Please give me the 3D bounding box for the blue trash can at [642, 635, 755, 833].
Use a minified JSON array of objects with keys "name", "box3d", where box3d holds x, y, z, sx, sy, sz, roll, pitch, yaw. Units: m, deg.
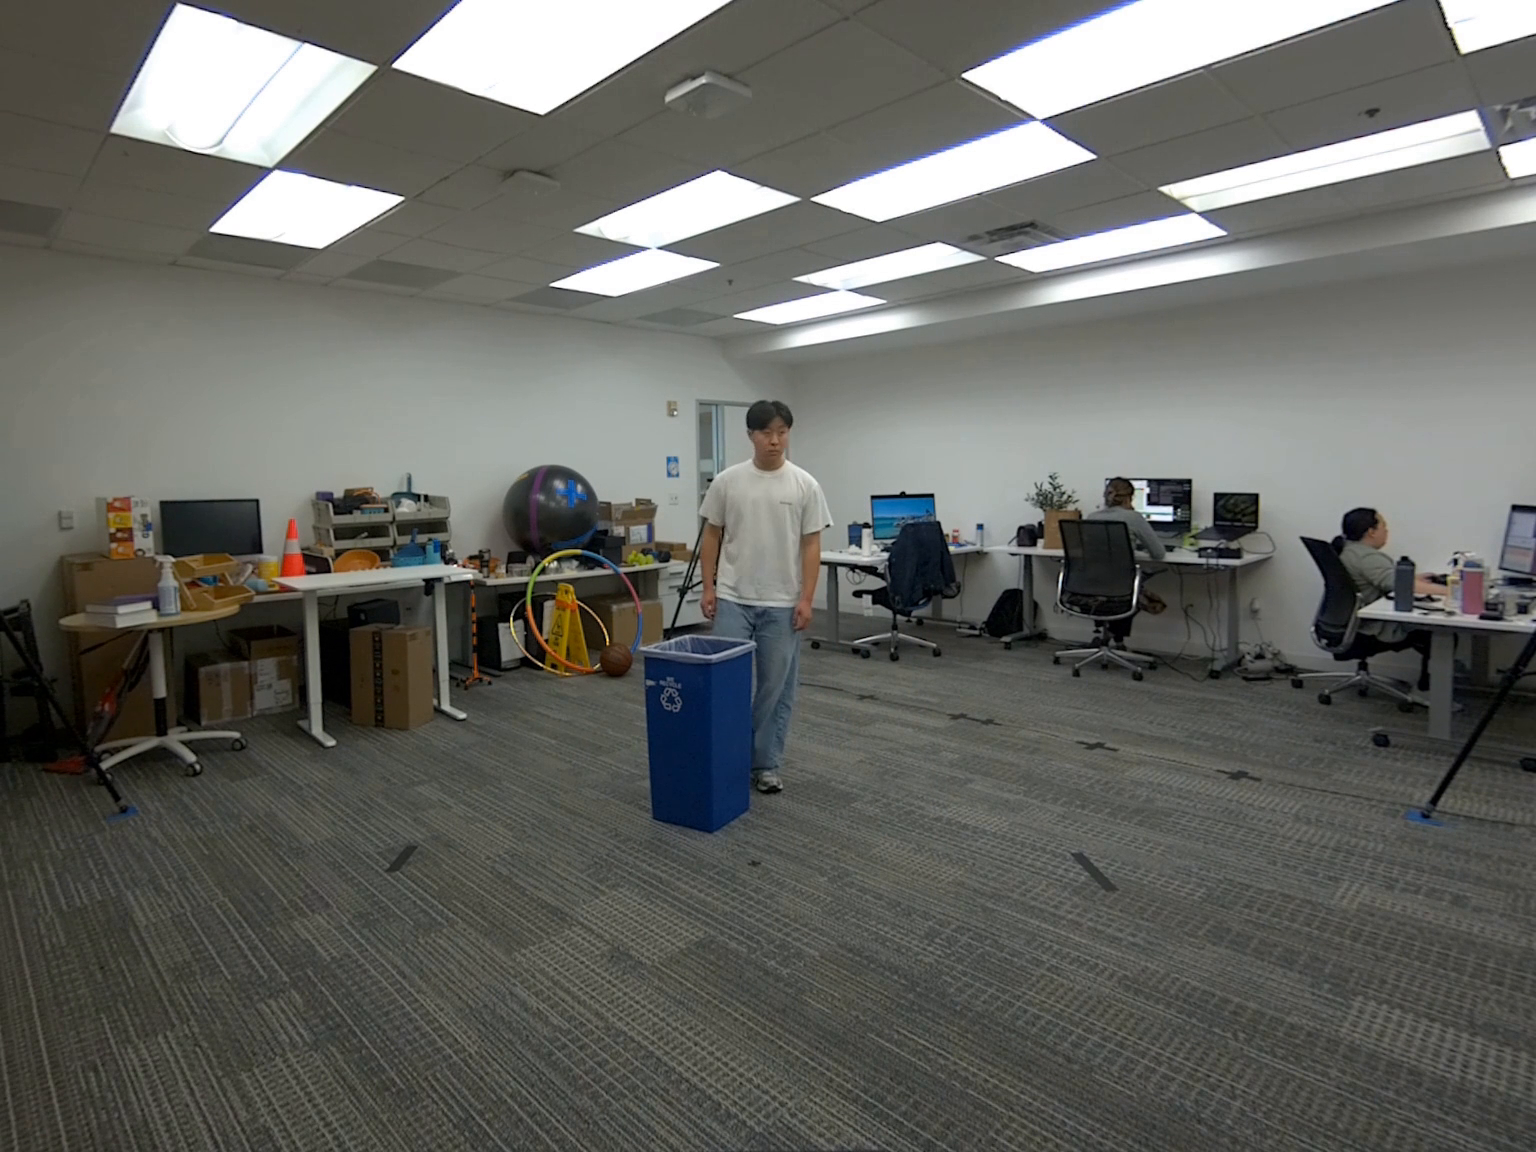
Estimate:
[{"name":"blue trash can","box3d":[-0.276,0.639,3.556,0.384,0.711,0.370,1,4,30]}]
